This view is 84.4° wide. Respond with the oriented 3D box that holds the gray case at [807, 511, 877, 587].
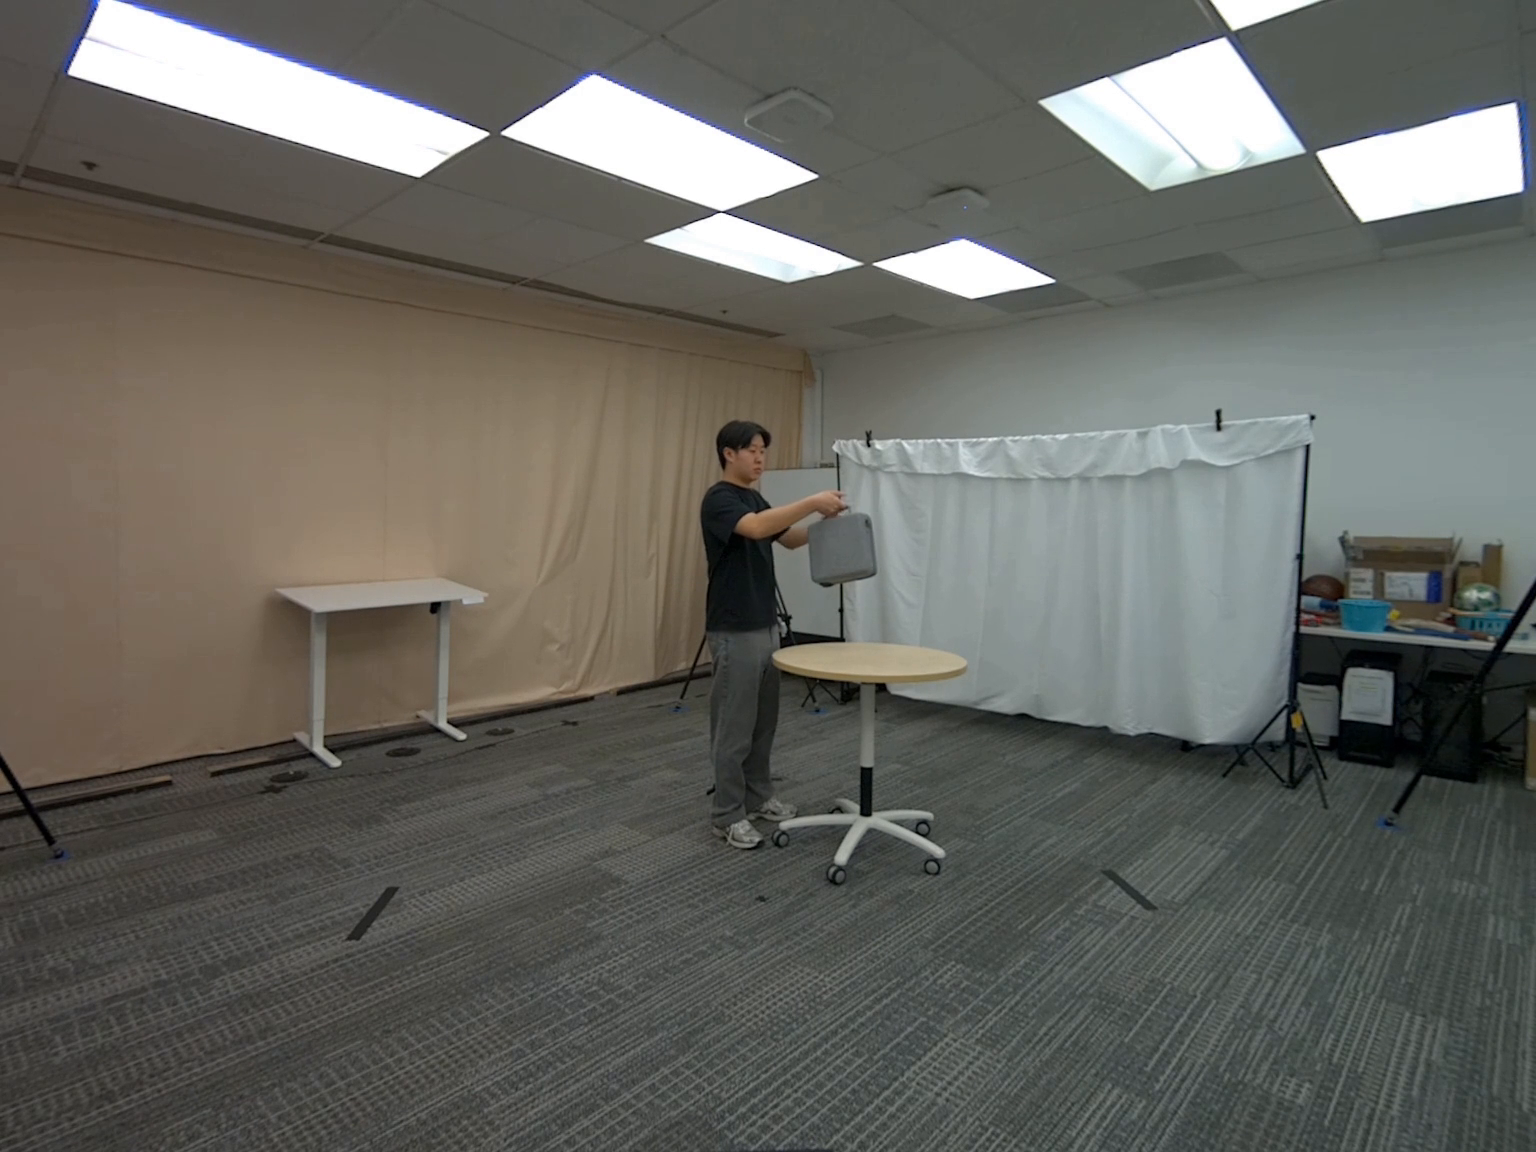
[{"bbox_3d":[0.295,-0.113,3.279,0.270,0.290,0.099,-13,-16,33],"label":"gray case"}]
